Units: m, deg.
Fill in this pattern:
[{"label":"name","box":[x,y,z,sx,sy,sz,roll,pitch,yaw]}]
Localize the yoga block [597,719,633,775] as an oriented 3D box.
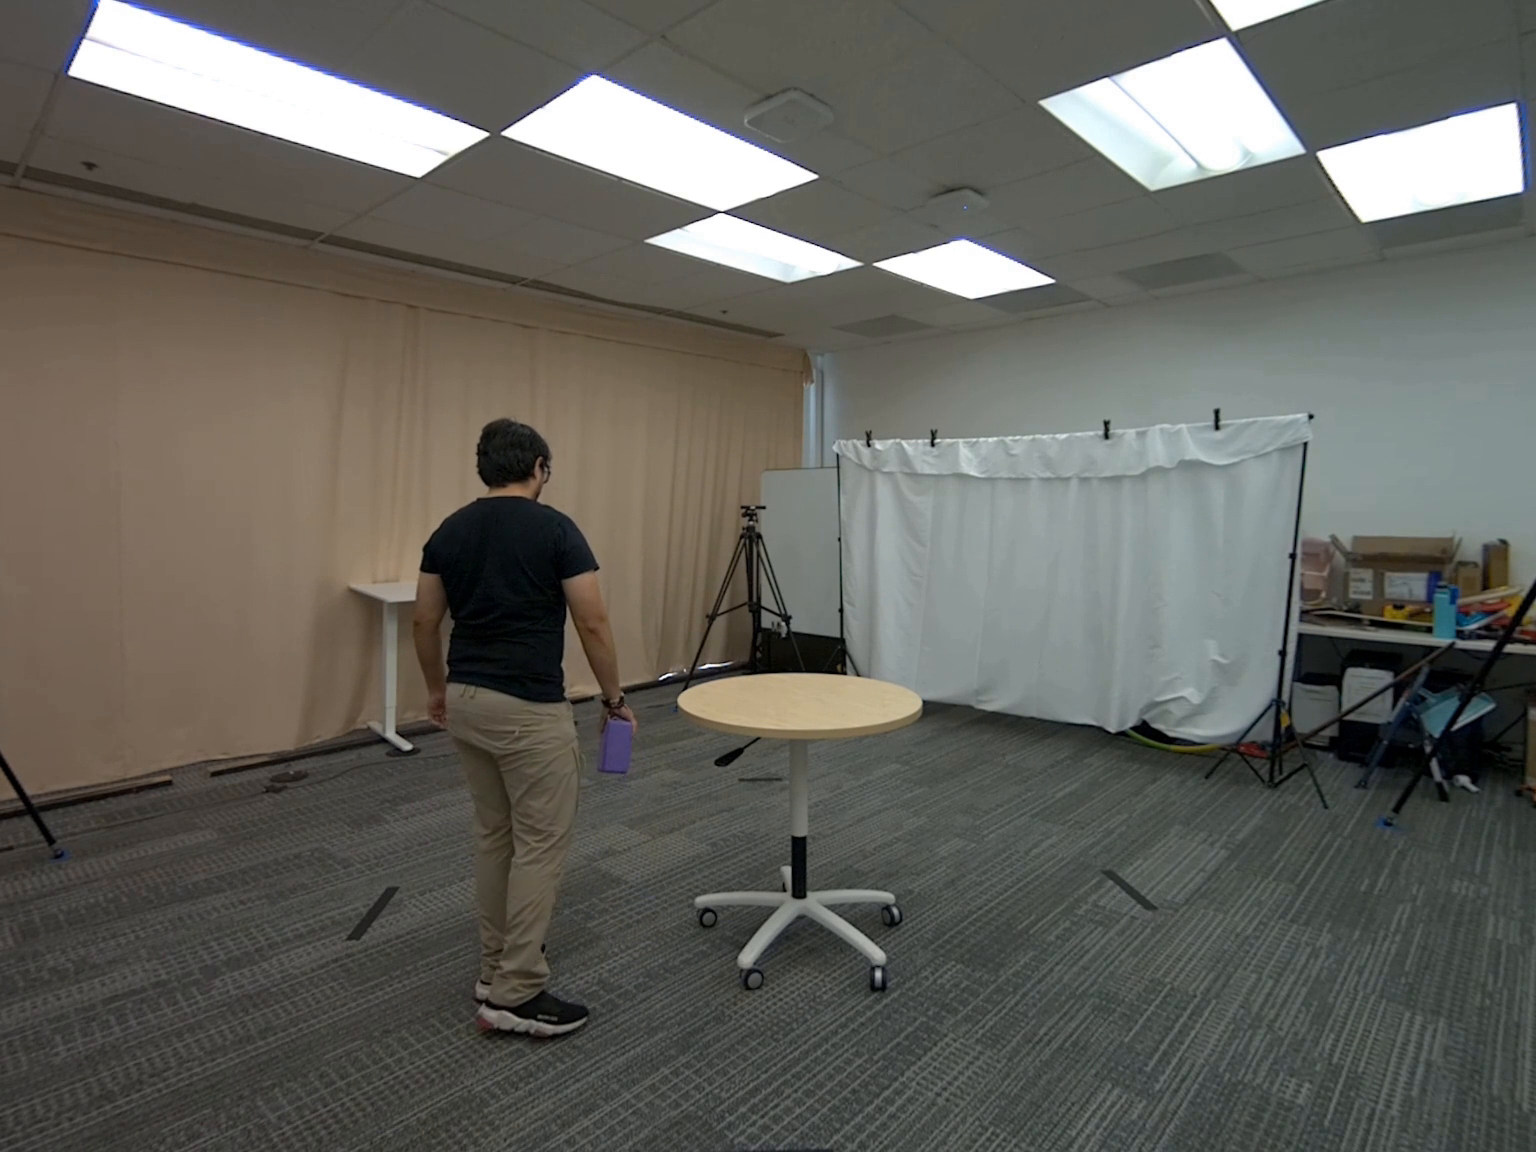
[{"label":"yoga block","box":[-0.453,0.515,2.506,0.075,0.150,0.230,7,-12,-10]}]
